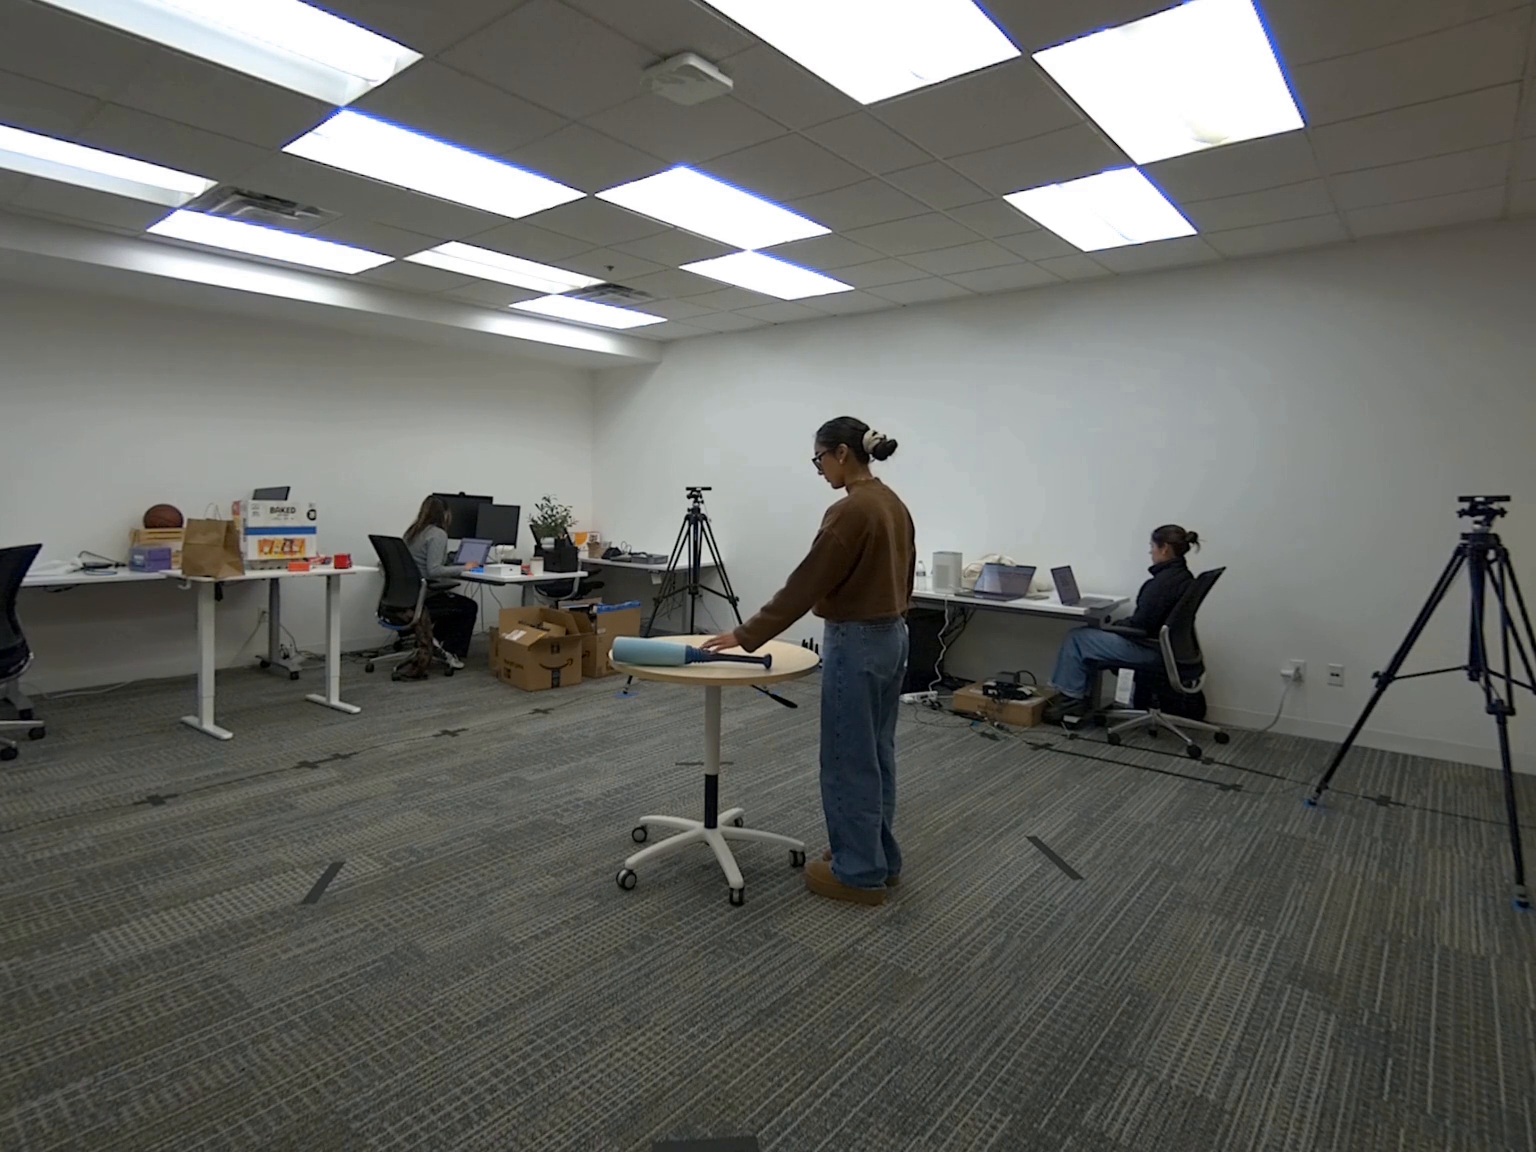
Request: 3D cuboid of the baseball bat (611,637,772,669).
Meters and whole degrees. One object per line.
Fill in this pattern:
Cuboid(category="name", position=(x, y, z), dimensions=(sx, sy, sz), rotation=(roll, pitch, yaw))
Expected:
Cuboid(category="baseball bat", position=(-0.266, 0.269, 2.889), dimensions=(0.544, 0.089, 0.089), rotation=(4, 4, 2))
